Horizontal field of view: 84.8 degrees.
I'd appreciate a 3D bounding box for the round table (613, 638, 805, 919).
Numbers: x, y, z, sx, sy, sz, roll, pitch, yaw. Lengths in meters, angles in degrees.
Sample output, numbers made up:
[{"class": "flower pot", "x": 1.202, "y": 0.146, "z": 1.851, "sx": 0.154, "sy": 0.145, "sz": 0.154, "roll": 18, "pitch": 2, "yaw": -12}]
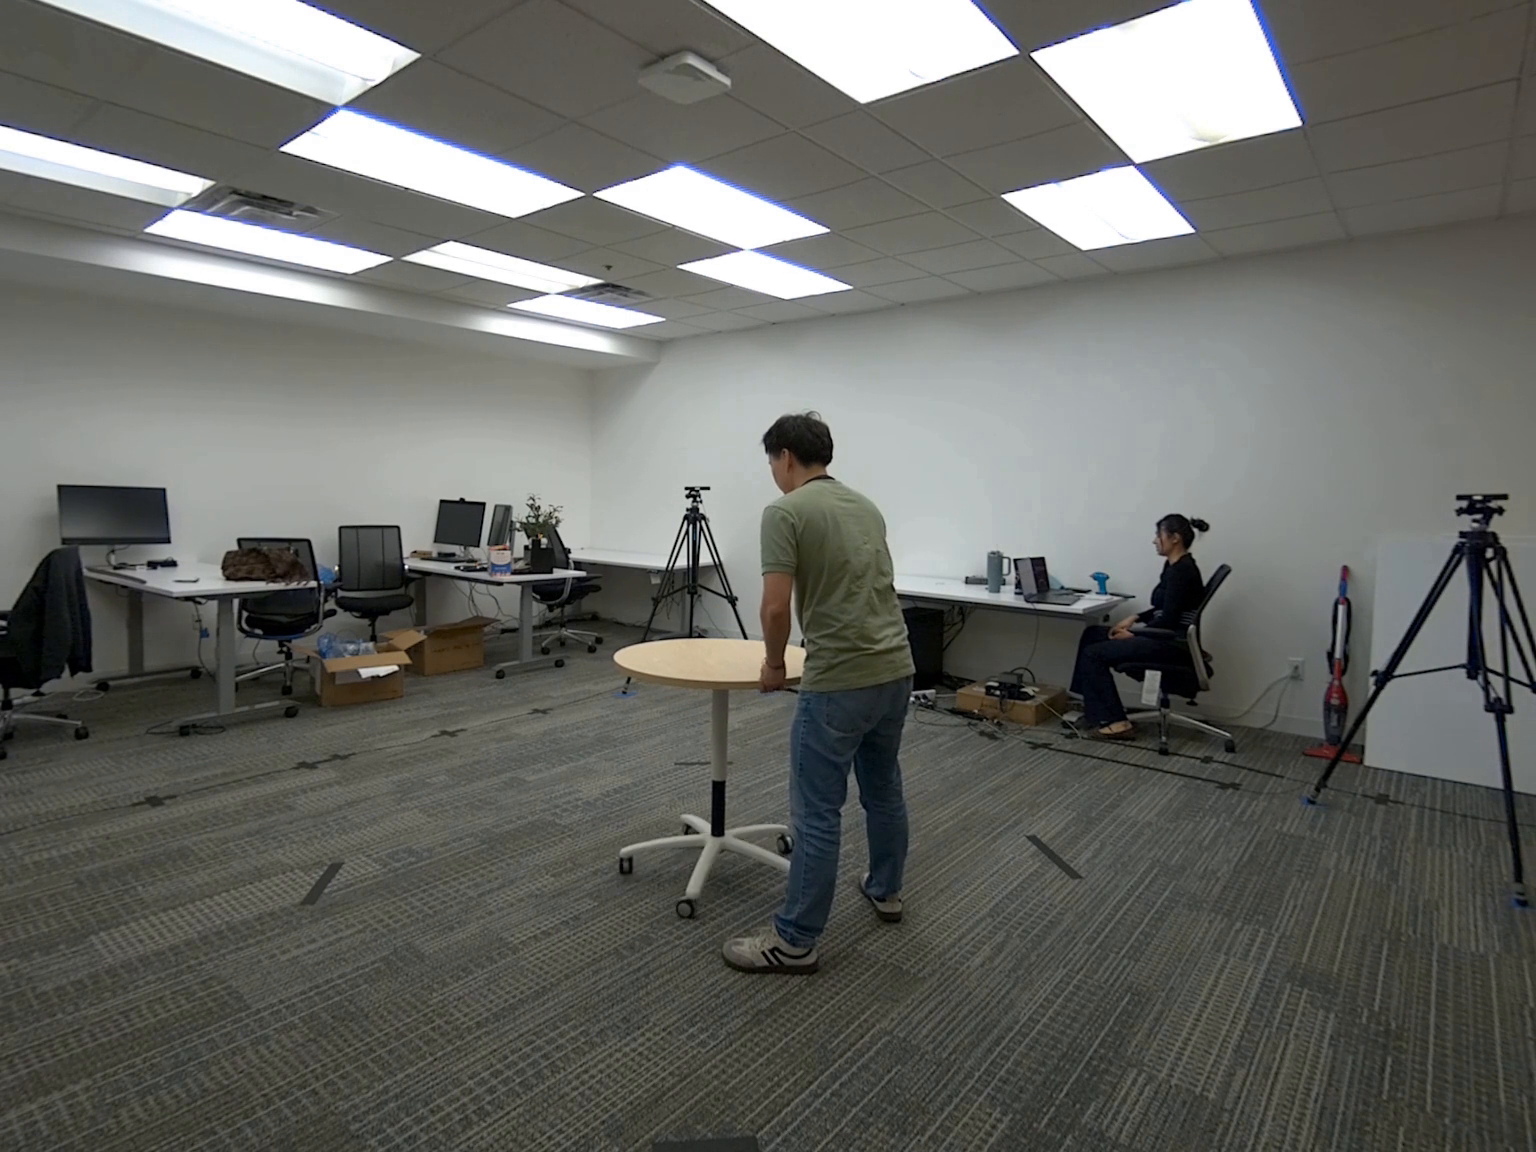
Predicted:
[{"class": "round table", "x": -0.180, "y": 0.680, "z": 3.049, "sx": 0.763, "sy": 0.791, "sz": 0.768, "roll": 1, "pitch": 4, "yaw": -2}]
